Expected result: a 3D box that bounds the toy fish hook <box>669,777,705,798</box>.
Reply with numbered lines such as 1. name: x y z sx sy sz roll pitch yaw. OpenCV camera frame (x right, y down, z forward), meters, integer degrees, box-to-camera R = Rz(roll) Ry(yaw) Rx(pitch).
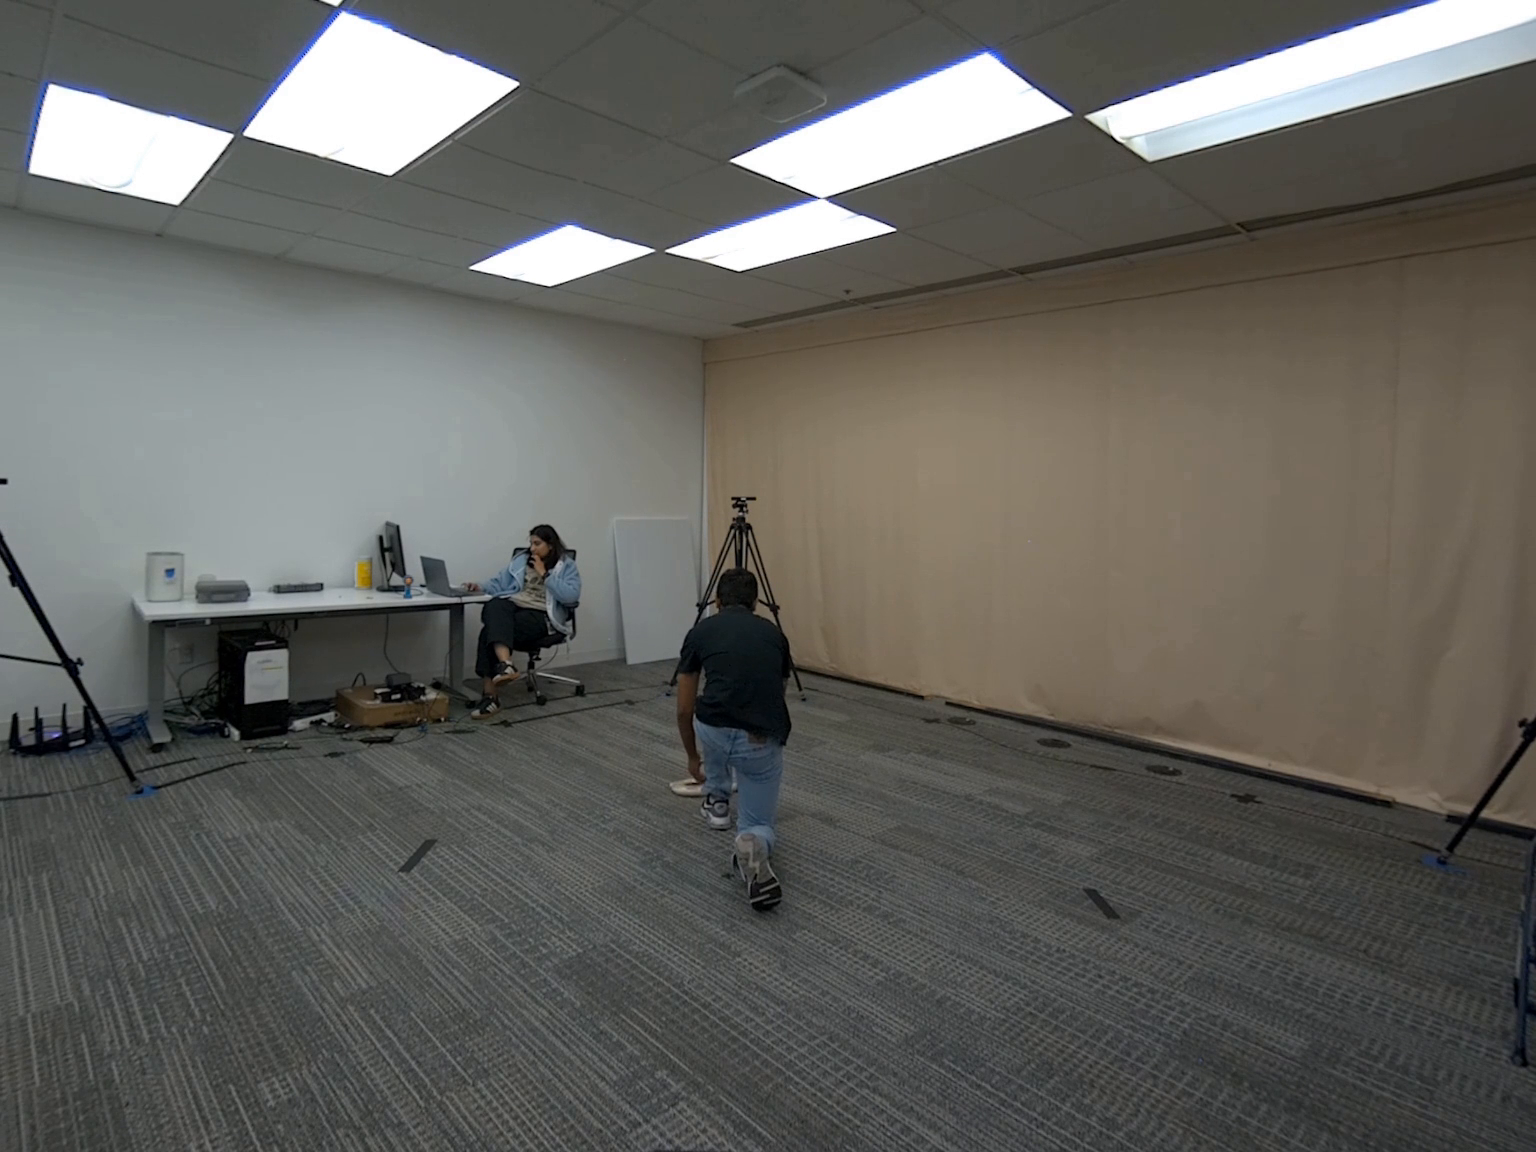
1. toy fish hook: -0.224 1.001 4.050 0.501 0.048 0.228 1 6 -13
